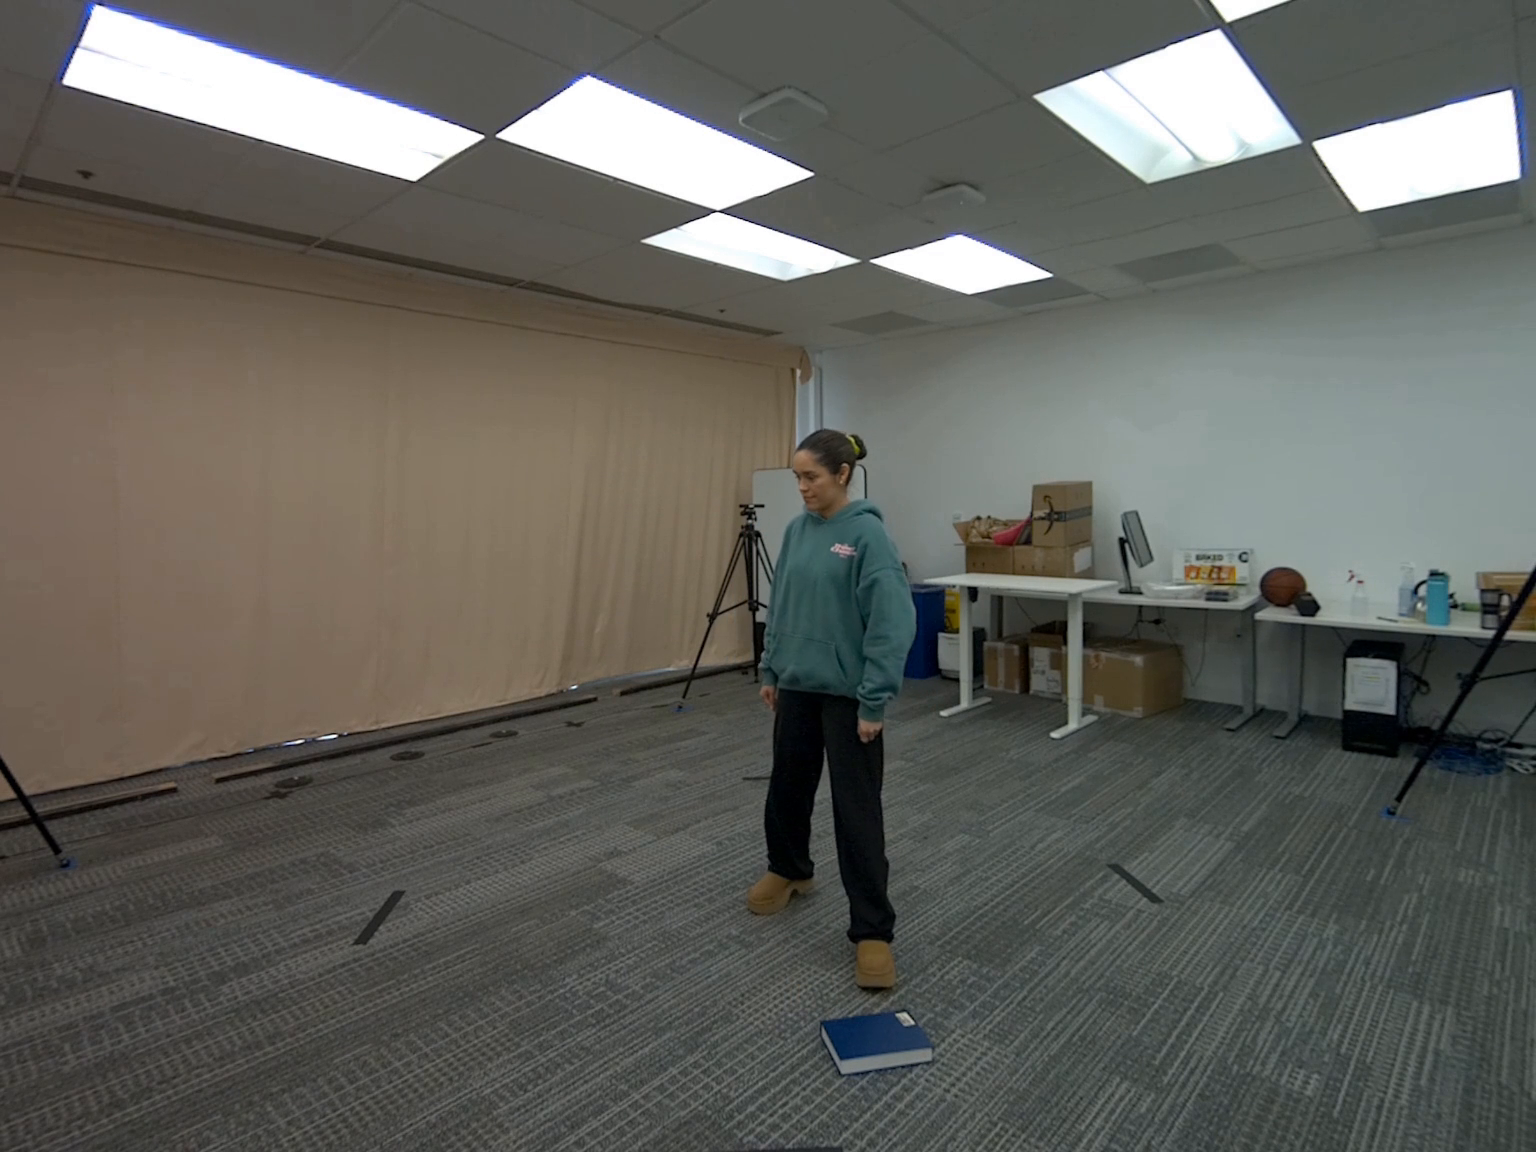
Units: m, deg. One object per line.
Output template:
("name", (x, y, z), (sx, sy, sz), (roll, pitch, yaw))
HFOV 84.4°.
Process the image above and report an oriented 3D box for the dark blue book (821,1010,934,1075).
("dark blue book", (0.277, 1.183, 2.142), (0.242, 0.045, 0.166), (-2, 5, -12))
